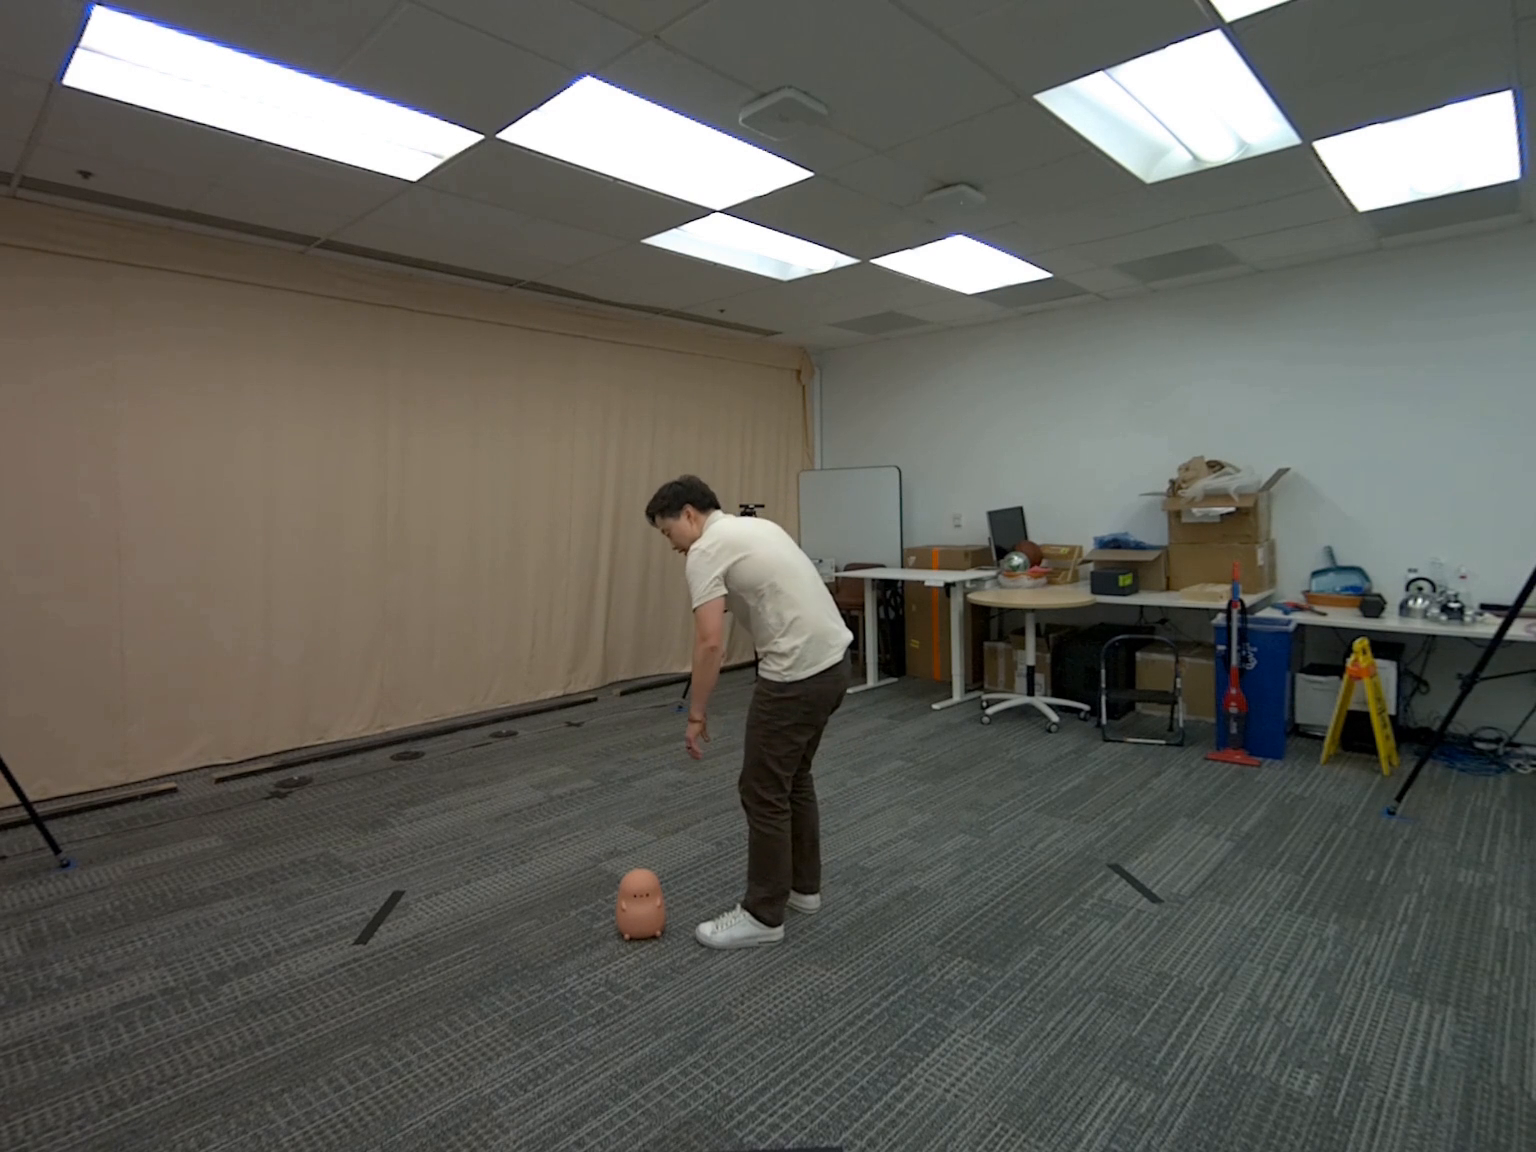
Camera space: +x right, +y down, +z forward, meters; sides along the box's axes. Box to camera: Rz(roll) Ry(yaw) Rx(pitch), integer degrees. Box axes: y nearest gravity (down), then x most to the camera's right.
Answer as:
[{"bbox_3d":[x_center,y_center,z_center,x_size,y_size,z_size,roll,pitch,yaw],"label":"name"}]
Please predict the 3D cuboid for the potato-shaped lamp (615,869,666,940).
[{"bbox_3d":[-0.417,1.067,2.756,0.164,0.197,0.172,-3,4,-5],"label":"potato-shaped lamp"}]
